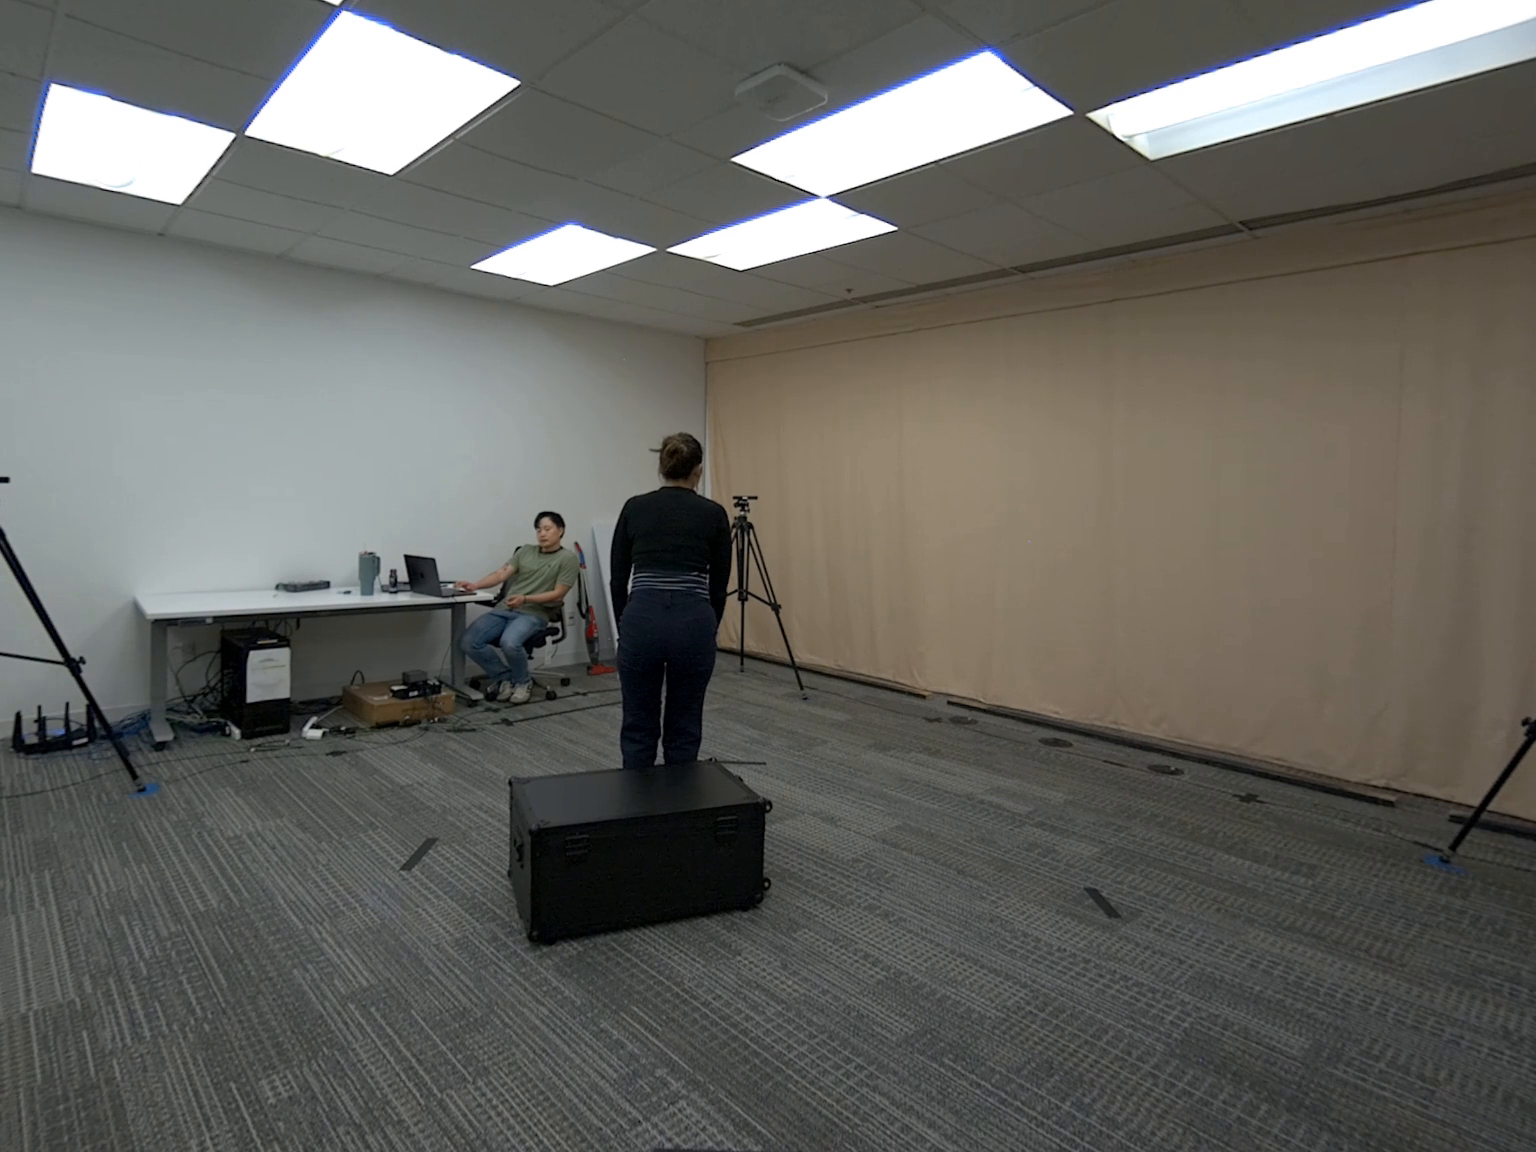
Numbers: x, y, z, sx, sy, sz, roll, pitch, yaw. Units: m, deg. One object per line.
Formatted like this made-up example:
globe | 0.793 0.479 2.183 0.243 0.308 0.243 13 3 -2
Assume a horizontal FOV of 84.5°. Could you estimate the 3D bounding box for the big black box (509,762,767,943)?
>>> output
big black box | -0.493 0.923 2.899 0.847 0.395 0.531 -1 5 -24
